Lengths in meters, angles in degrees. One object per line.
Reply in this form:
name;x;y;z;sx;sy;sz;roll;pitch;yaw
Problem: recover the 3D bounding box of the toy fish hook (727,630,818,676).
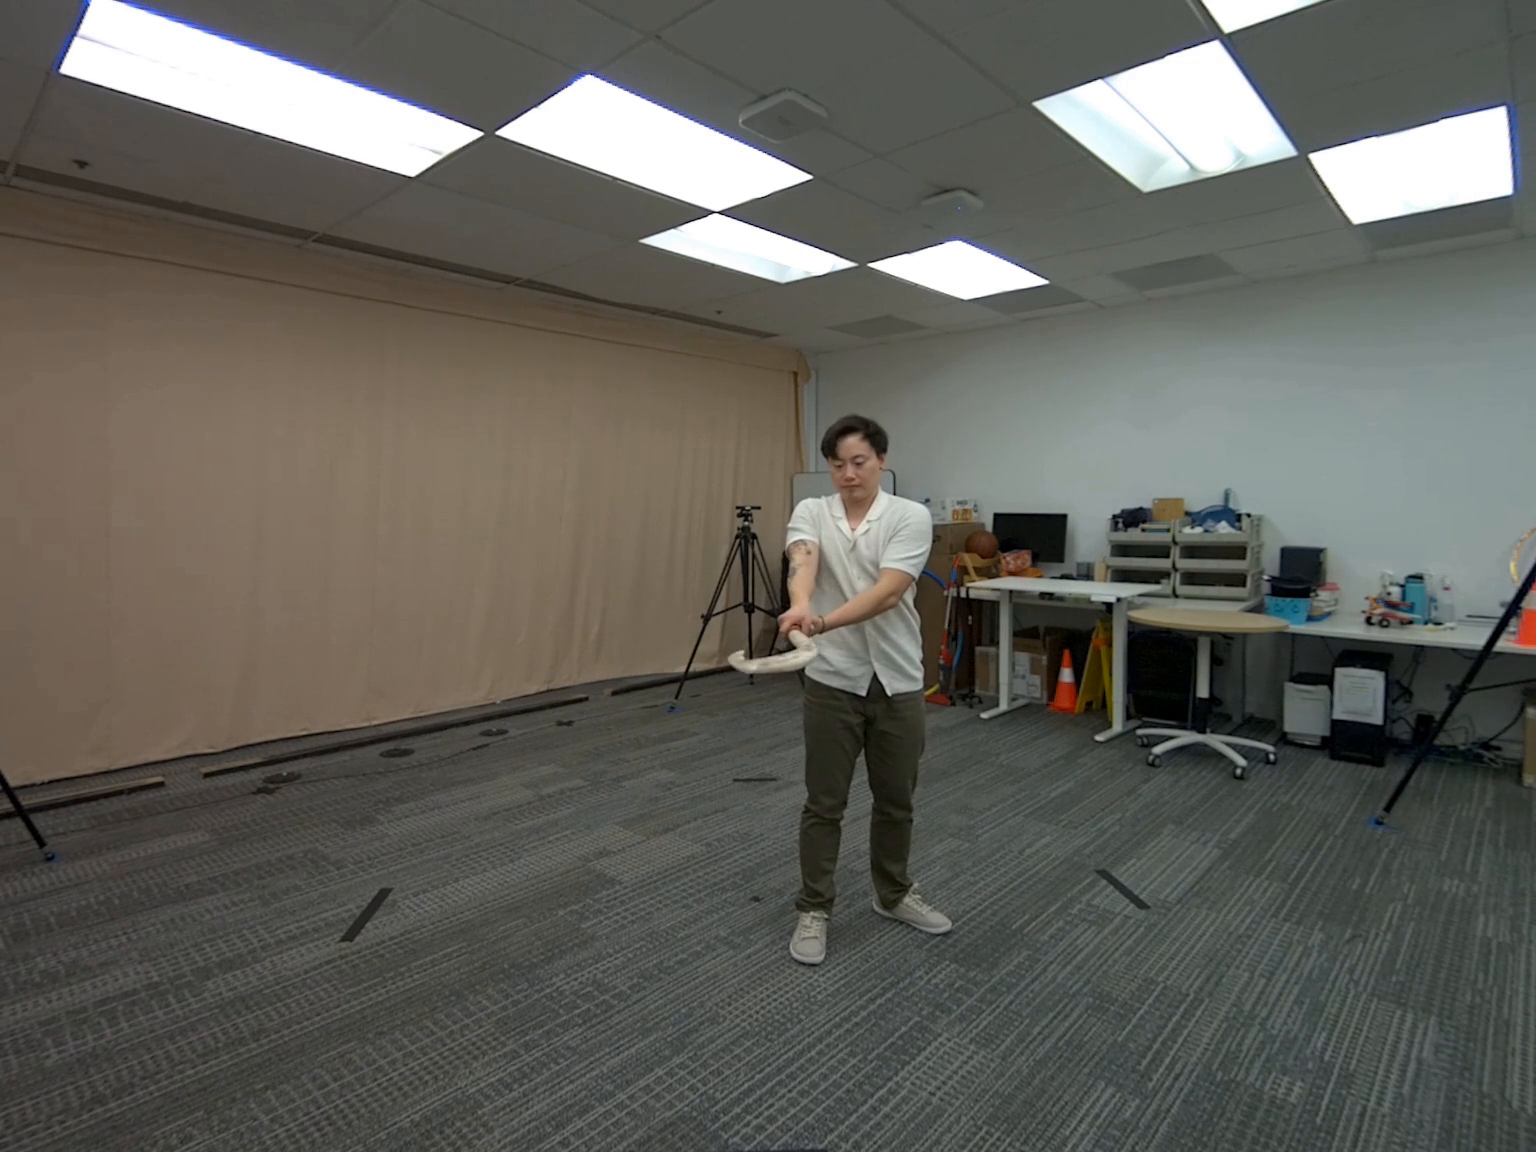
toy fish hook;0.022;0.171;2.204;0.226;0.048;0.505;-3;6;4
